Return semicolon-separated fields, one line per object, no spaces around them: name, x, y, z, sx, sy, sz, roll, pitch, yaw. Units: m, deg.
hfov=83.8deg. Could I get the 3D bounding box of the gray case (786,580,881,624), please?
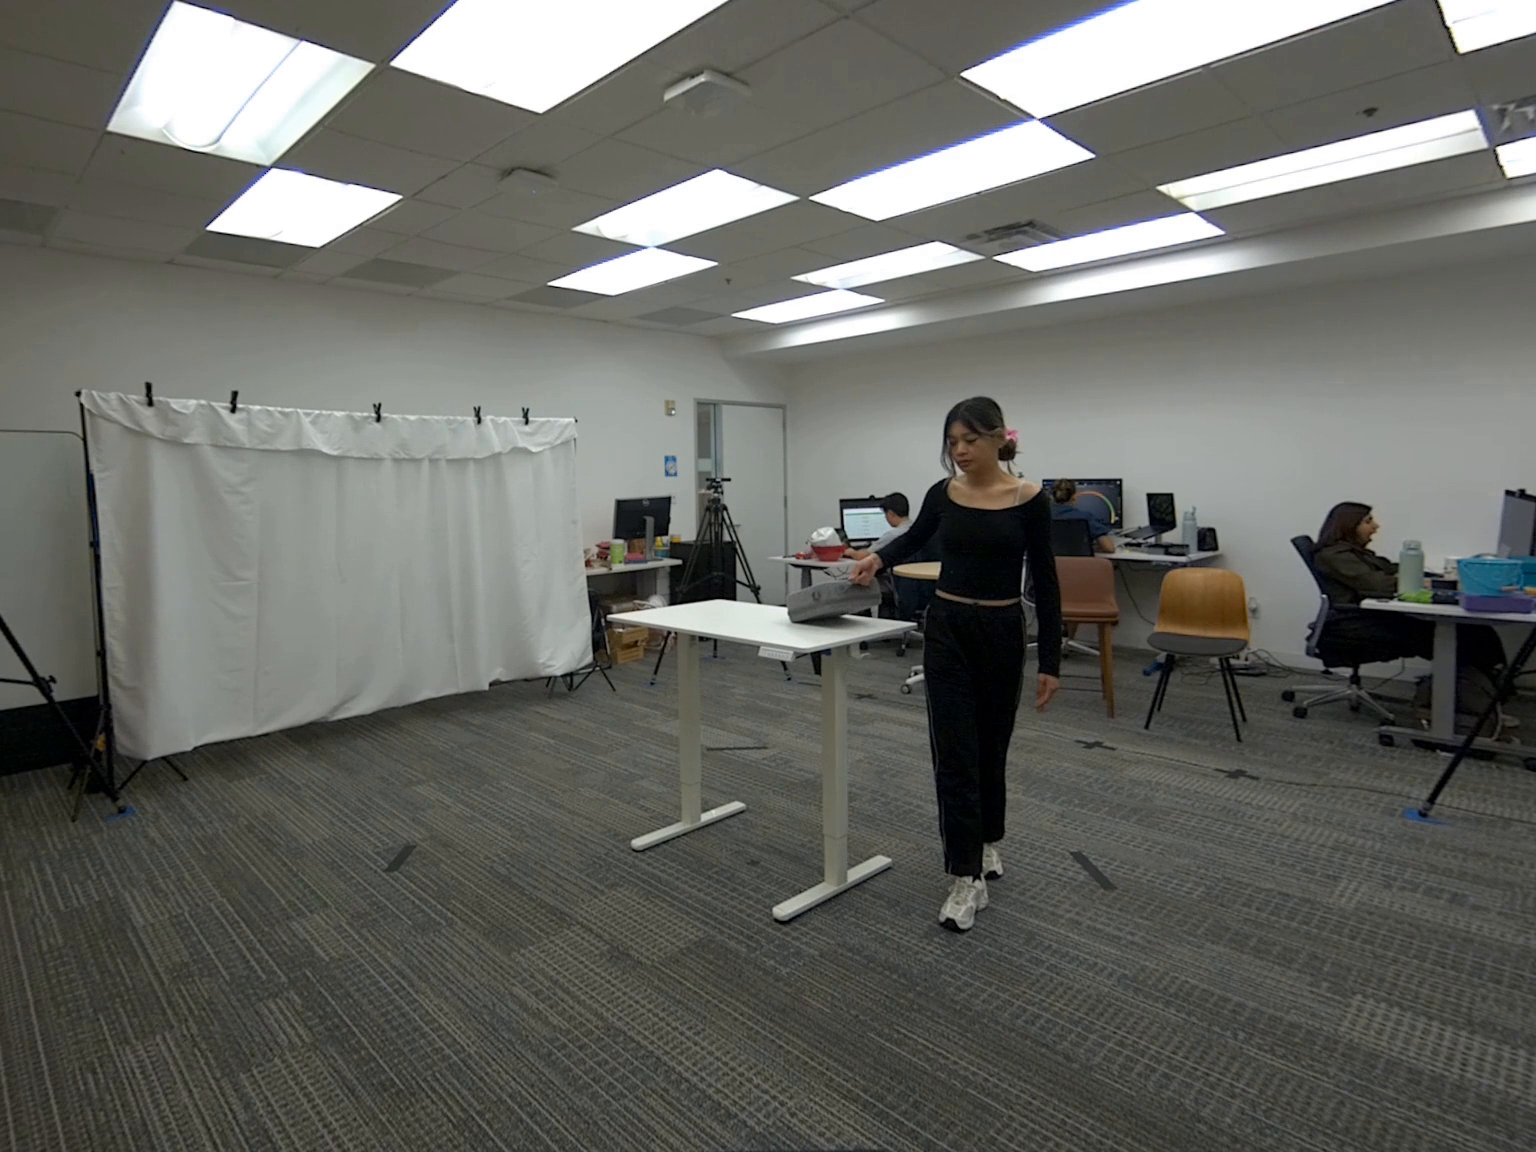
gray case;0.225;0.082;3.000;0.250;0.105;0.264;-2;-11;-34
